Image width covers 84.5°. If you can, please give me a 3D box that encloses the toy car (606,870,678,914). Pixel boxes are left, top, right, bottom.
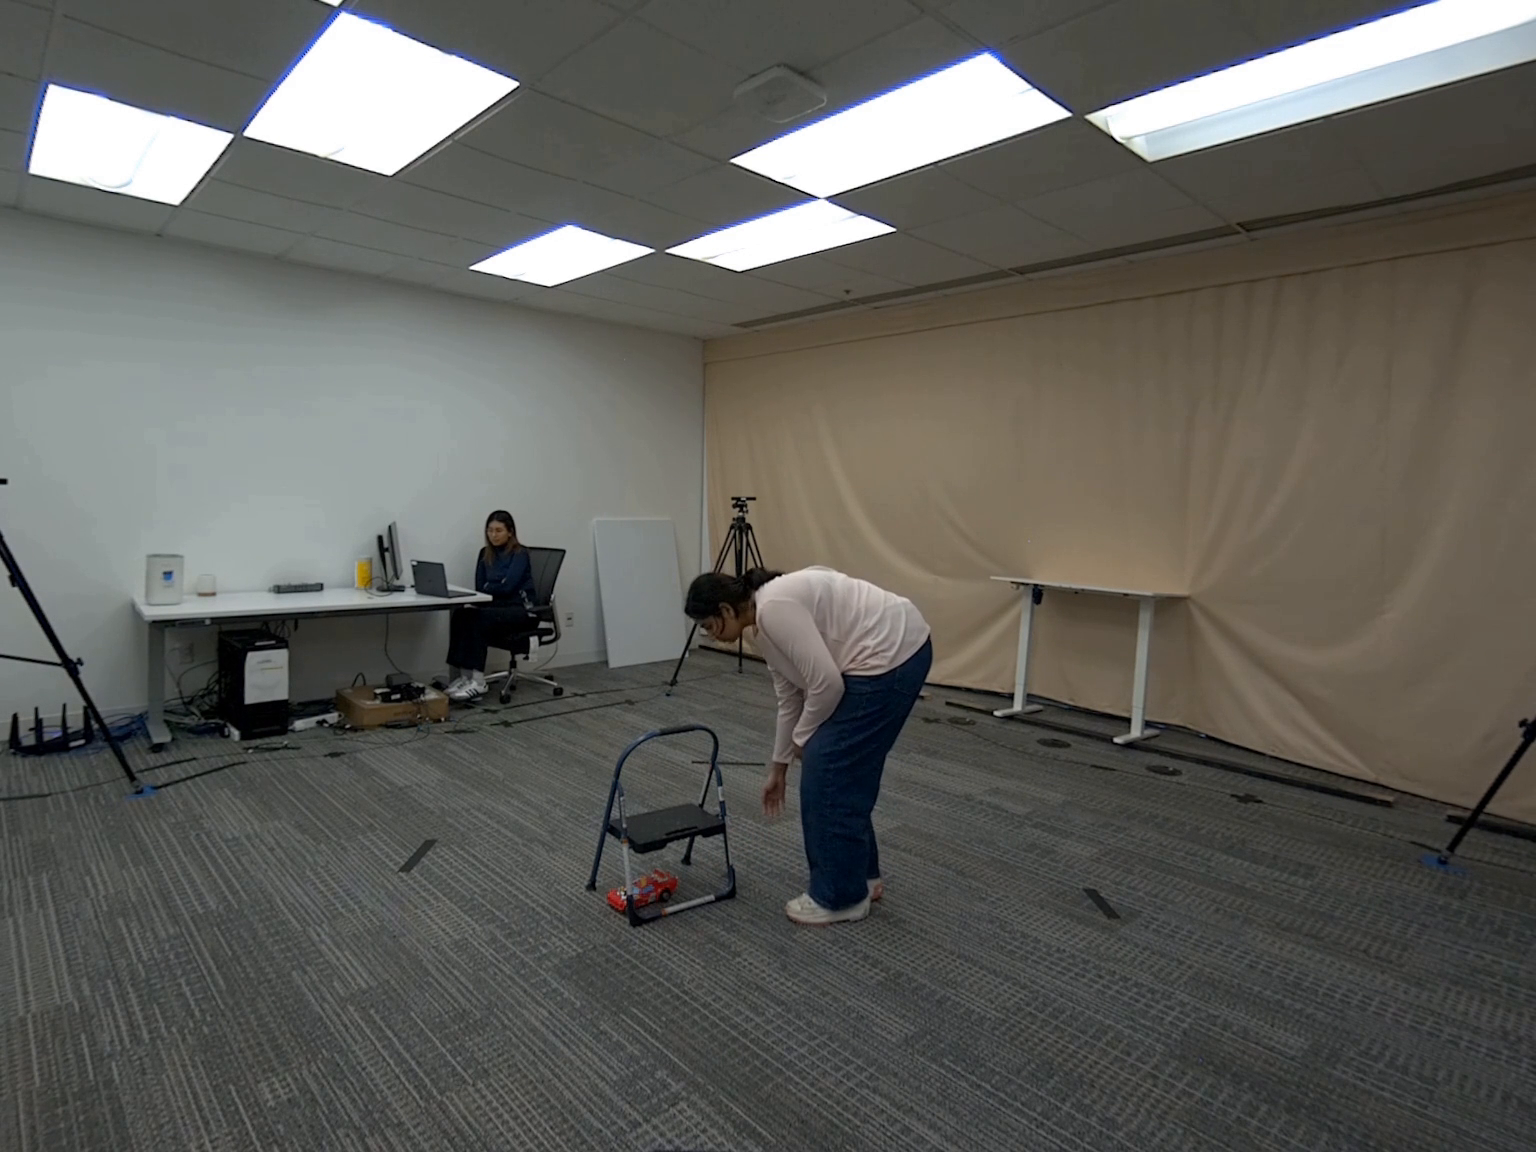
[{"bbox_3d":[-0.430,1.082,2.897,0.250,0.082,0.133,-18,15,-39],"label":"toy car"}]
